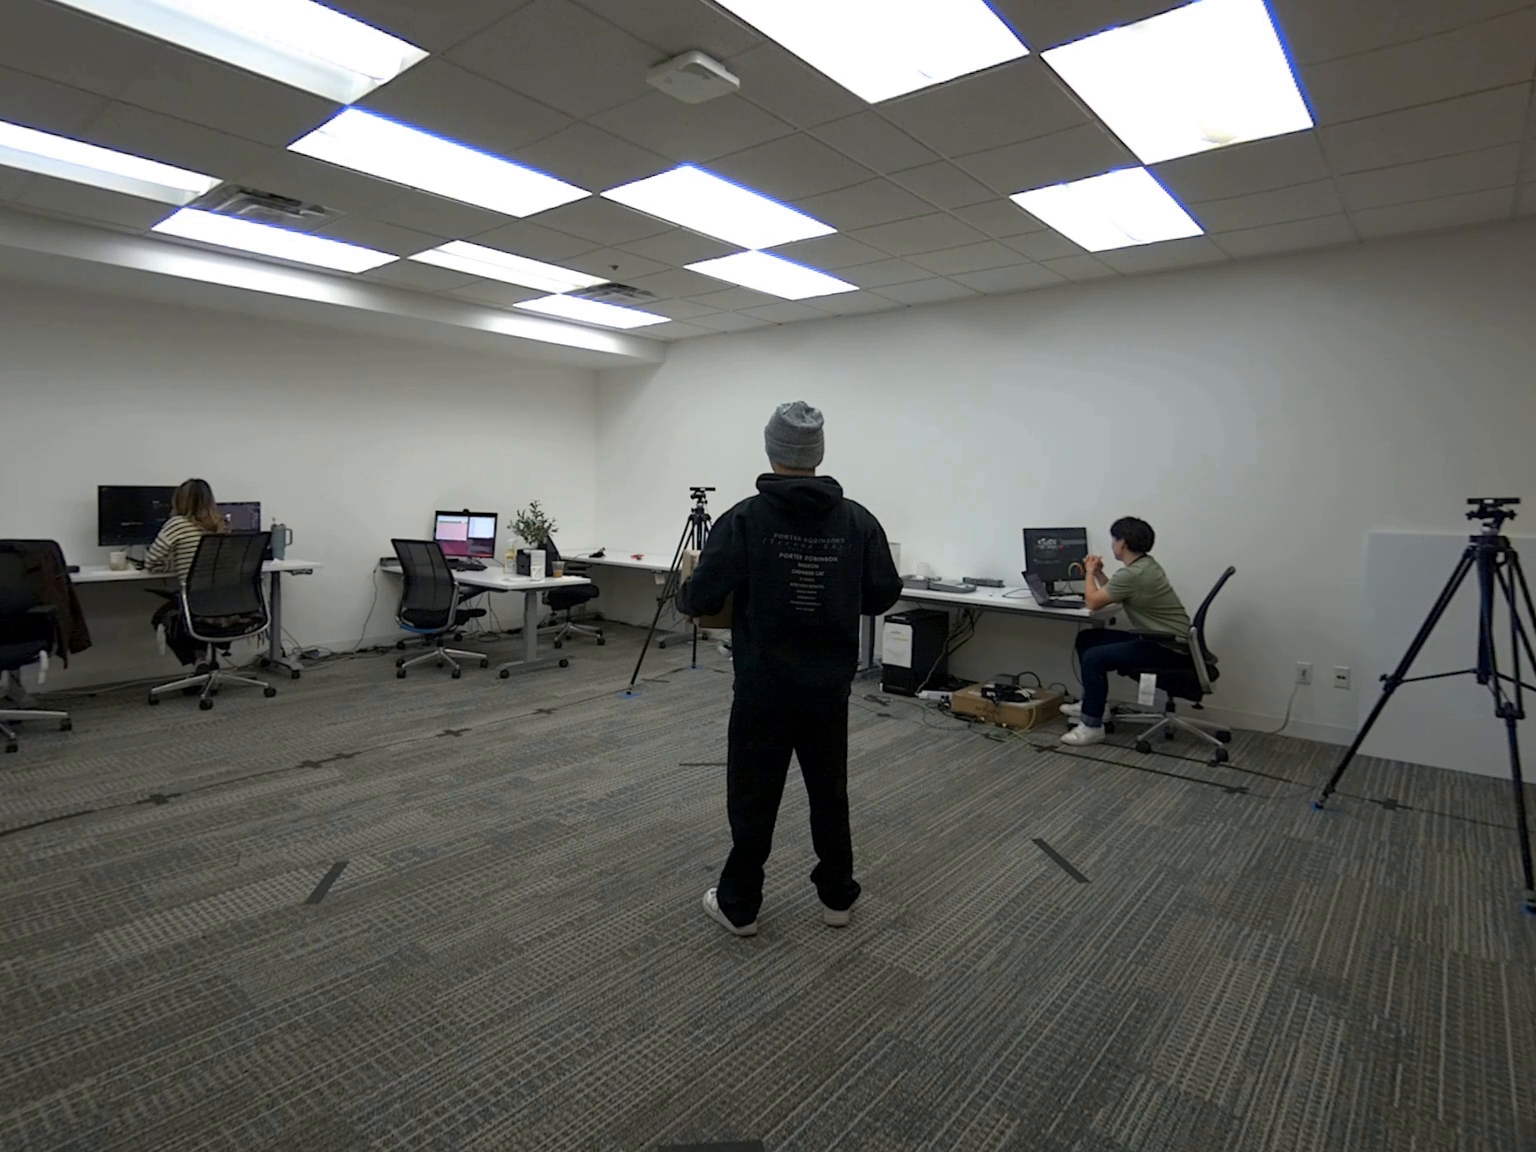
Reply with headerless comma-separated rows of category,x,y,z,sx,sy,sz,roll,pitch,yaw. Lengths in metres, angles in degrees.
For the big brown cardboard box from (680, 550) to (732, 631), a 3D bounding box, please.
big brown cardboard box,-0.016,0.049,3.062,0.583,0.232,0.424,3,7,-9
